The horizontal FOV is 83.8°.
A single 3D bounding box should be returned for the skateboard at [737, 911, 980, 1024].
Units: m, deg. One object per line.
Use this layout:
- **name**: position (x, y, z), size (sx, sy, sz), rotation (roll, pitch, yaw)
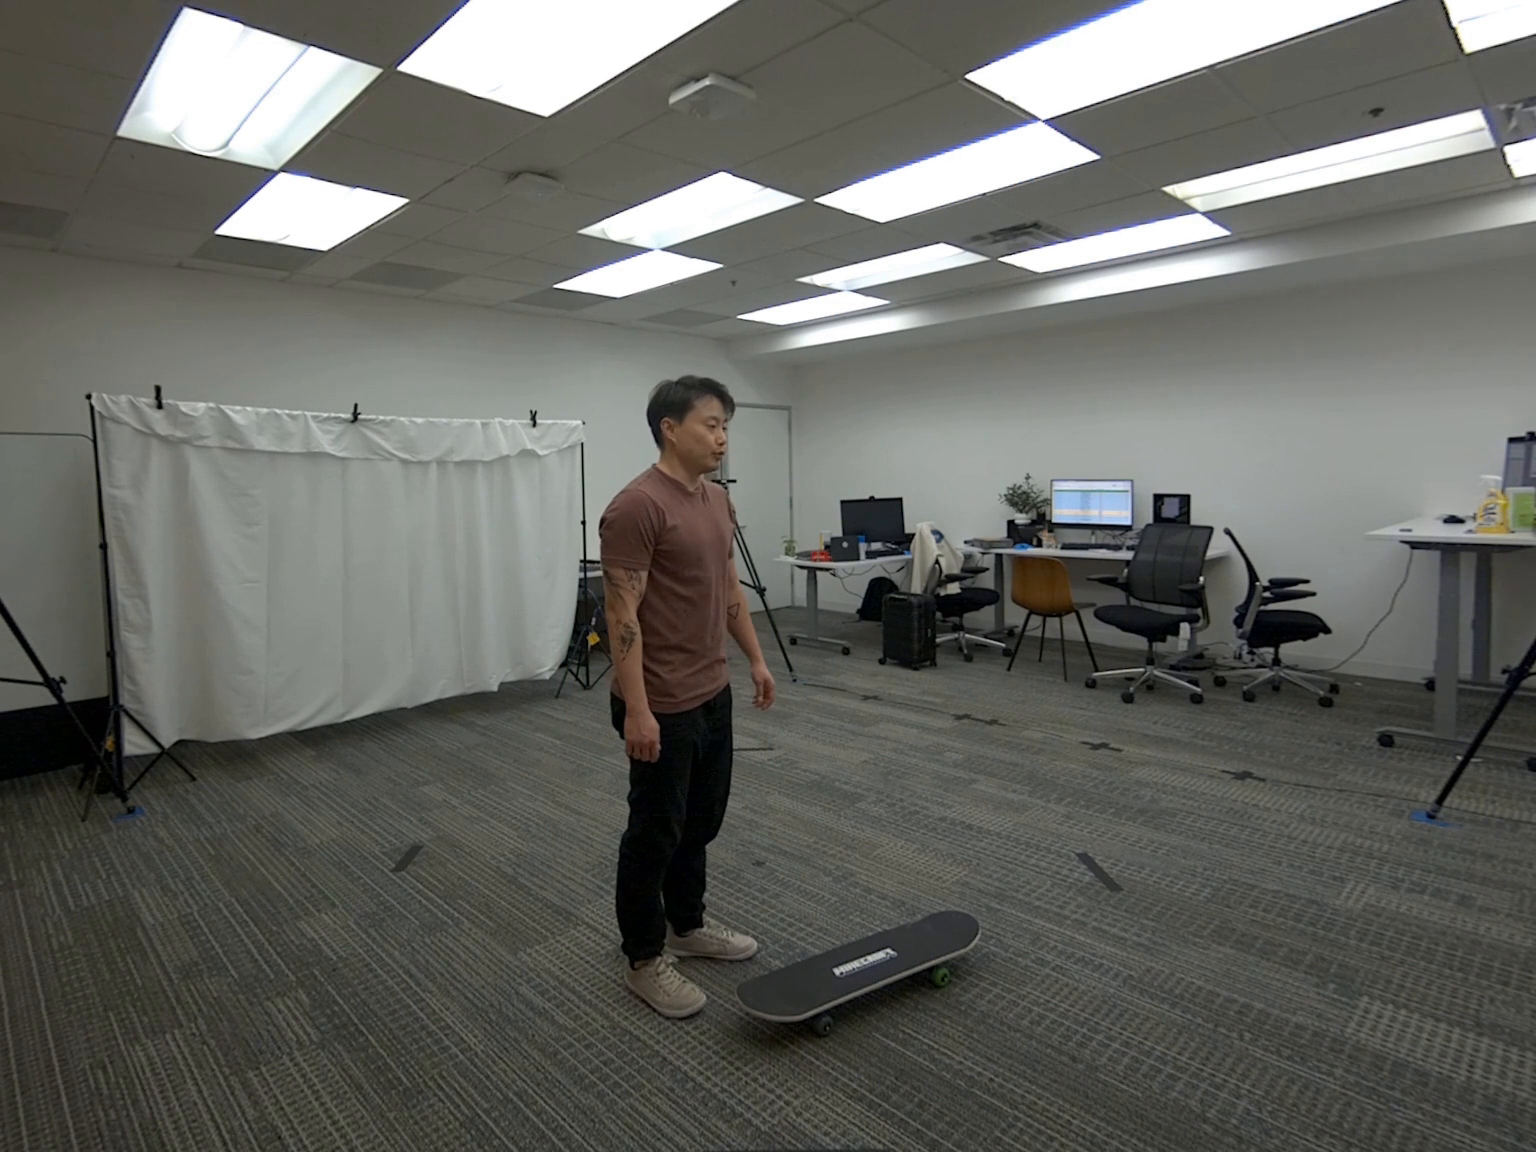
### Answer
- **skateboard**: position (0.270, 1.073, 2.315), size (0.767, 0.110, 0.199), rotation (-5, 6, -30)
